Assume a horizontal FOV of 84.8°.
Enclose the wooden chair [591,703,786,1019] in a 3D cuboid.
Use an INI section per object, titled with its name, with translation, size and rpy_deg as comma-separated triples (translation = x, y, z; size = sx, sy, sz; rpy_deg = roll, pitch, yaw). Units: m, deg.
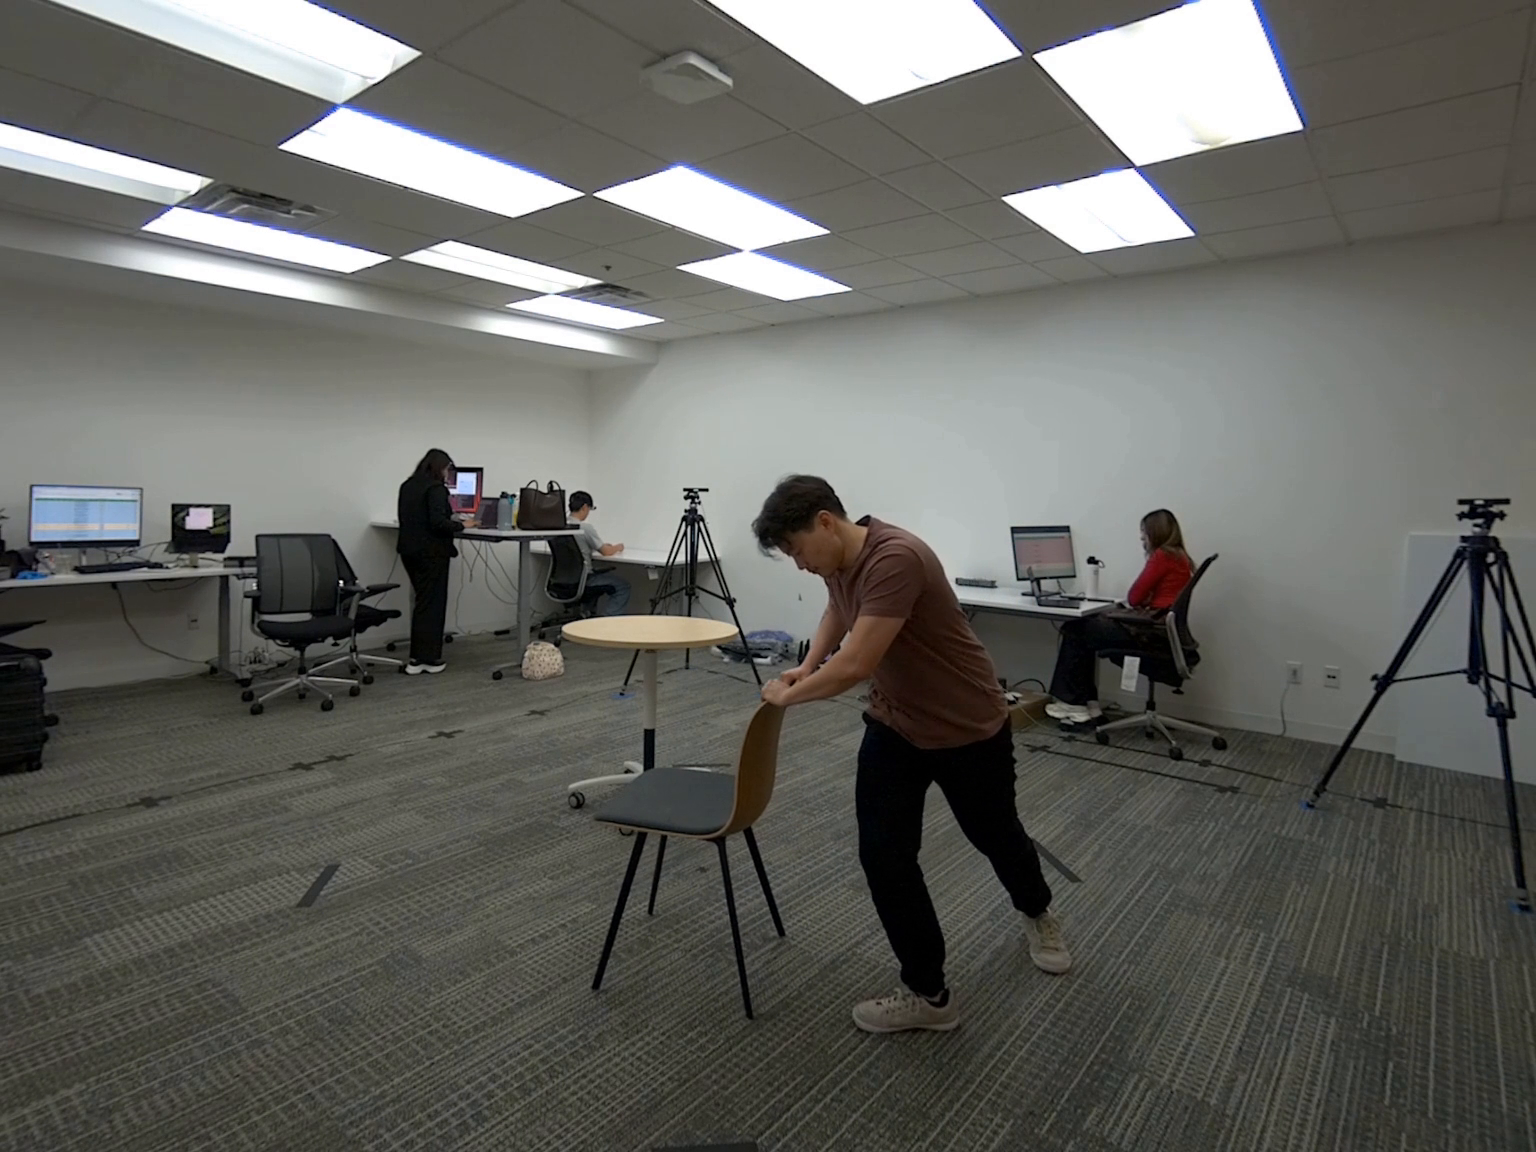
[wooden chair]
translation = -0.220, 0.702, 2.484
size = 0.532, 0.874, 0.471
rpy_deg = 7, 4, 14
